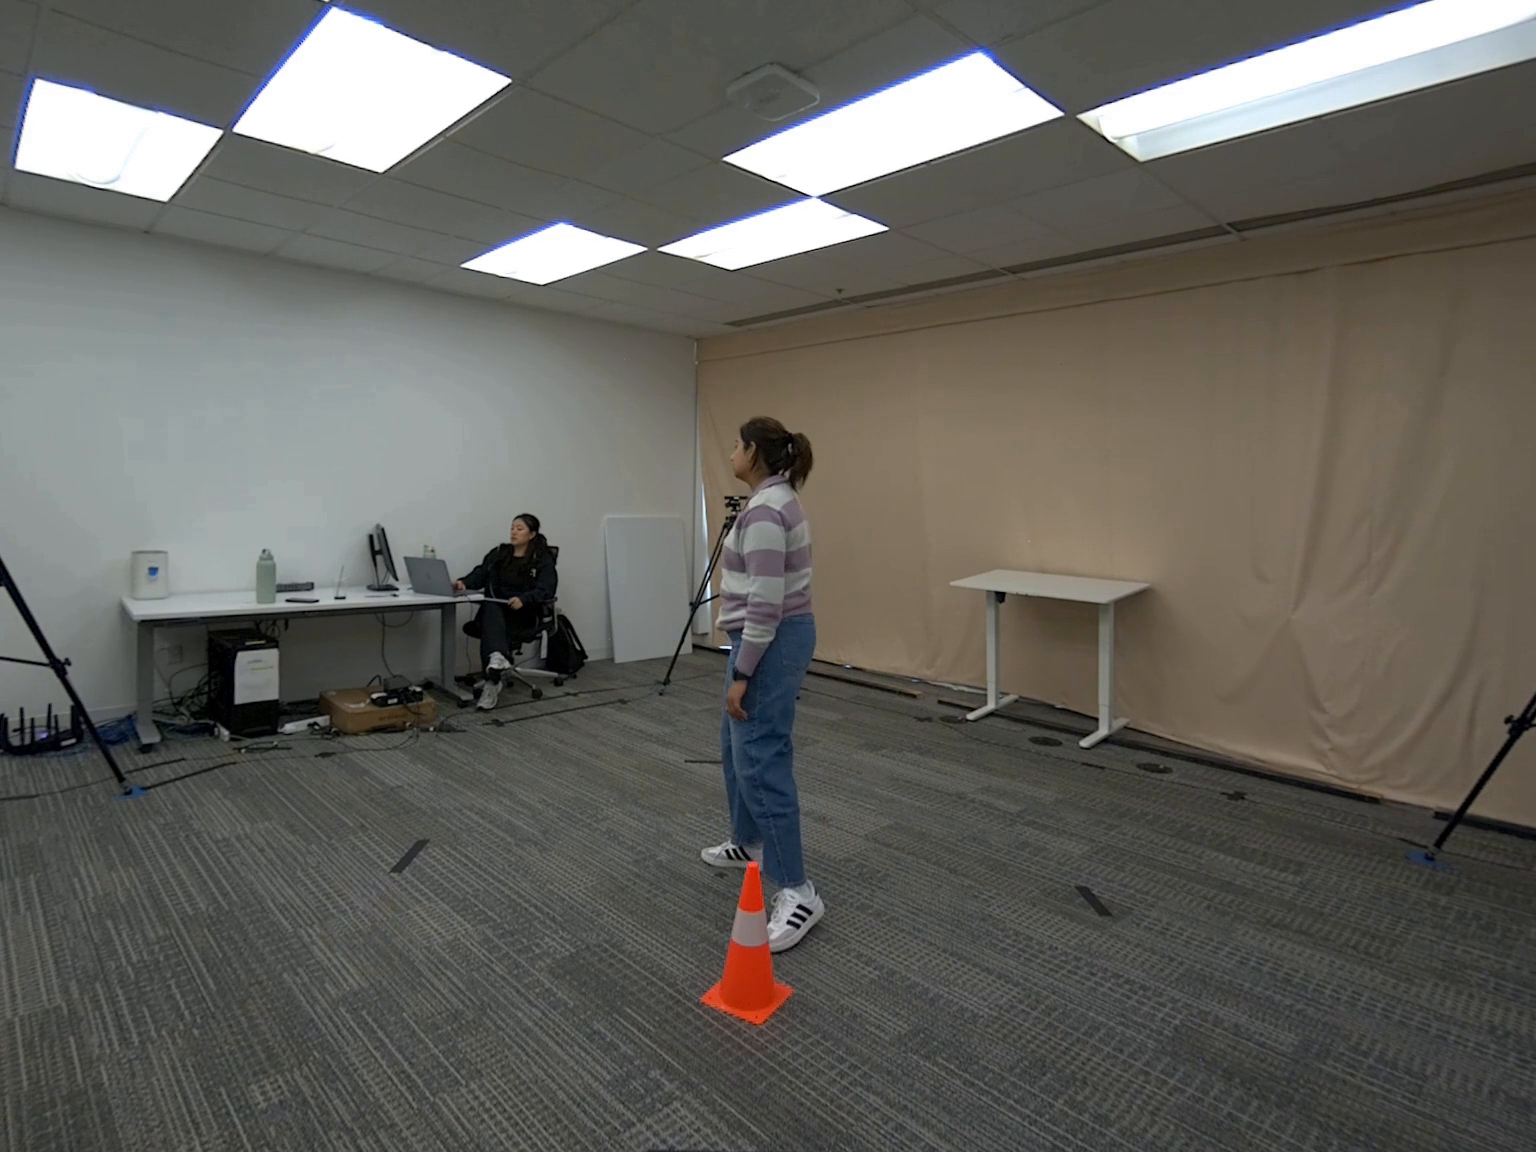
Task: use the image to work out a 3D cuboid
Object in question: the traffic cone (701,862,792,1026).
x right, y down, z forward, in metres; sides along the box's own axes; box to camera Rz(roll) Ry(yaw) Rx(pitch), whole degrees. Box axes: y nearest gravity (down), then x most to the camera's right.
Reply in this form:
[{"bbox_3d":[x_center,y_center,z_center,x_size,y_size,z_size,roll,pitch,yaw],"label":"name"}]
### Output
[{"bbox_3d":[-0.053,0.995,2.343,0.208,0.383,0.201,6,4,33],"label":"traffic cone"}]
